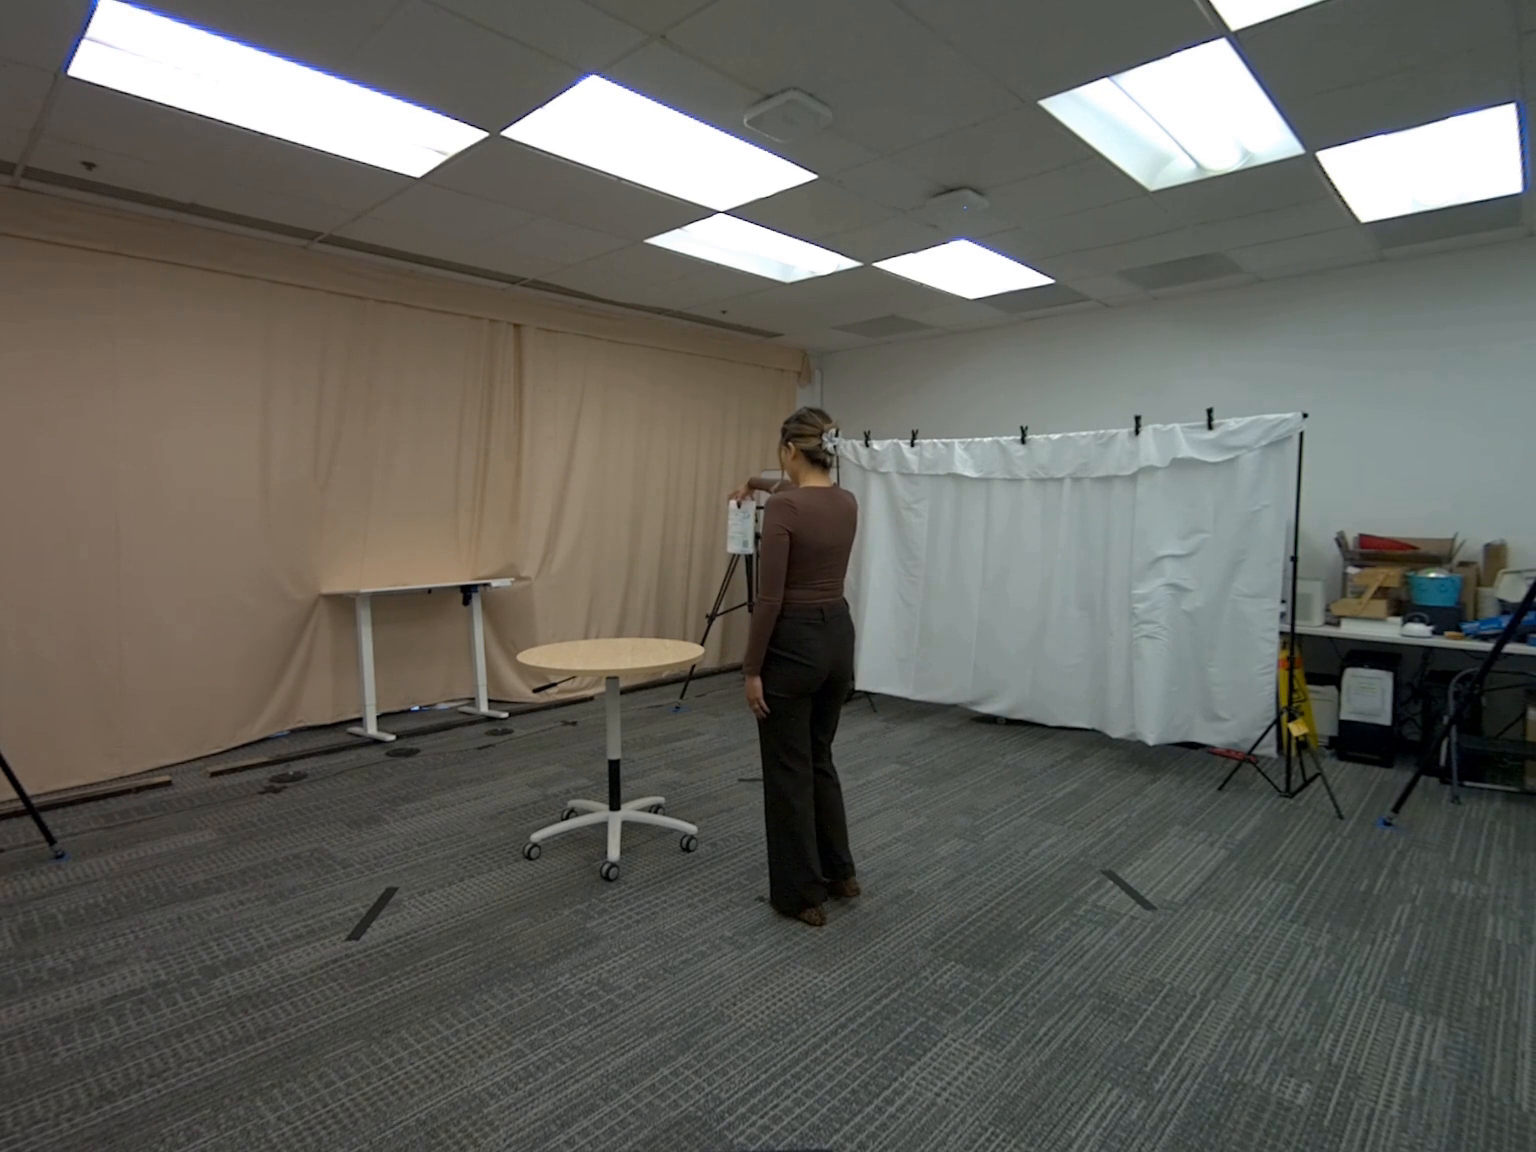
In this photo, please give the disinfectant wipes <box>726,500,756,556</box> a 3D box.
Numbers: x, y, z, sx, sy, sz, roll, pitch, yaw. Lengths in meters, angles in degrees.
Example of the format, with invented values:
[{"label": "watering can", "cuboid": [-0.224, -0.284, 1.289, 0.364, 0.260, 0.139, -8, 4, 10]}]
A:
[{"label": "disinfectant wipes", "cuboid": [-0.105, -0.193, 3.424, 0.117, 0.217, 0.118, 4, 6, -2]}]
